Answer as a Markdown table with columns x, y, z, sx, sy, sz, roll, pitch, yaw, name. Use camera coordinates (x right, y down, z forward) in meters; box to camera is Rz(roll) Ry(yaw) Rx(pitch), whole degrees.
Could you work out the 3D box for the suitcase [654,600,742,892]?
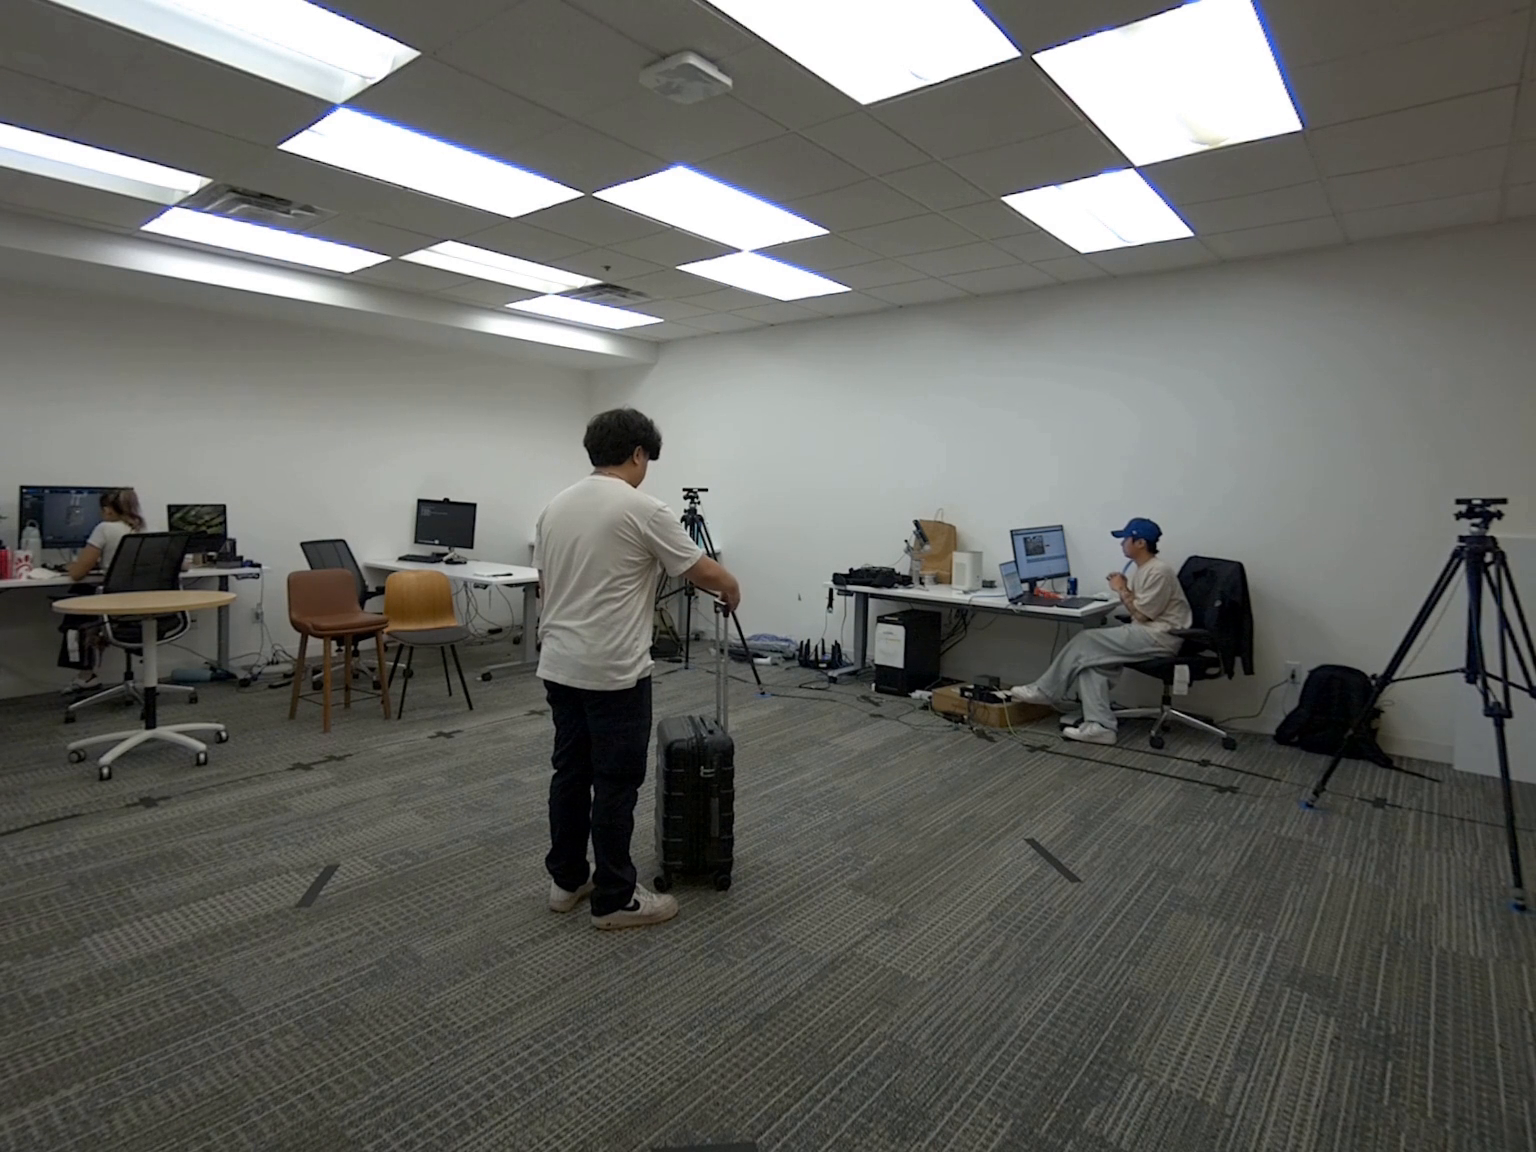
| x | y | z | sx | sy | sz | roll | pitch | yaw | name |
| --- | --- | --- | --- | --- | --- | --- | --- | --- | --- |
| -0.279 | 0.595 | 3.071 | 0.255 | 0.976 | 0.388 | 0 | 2 | -9 | suitcase |
